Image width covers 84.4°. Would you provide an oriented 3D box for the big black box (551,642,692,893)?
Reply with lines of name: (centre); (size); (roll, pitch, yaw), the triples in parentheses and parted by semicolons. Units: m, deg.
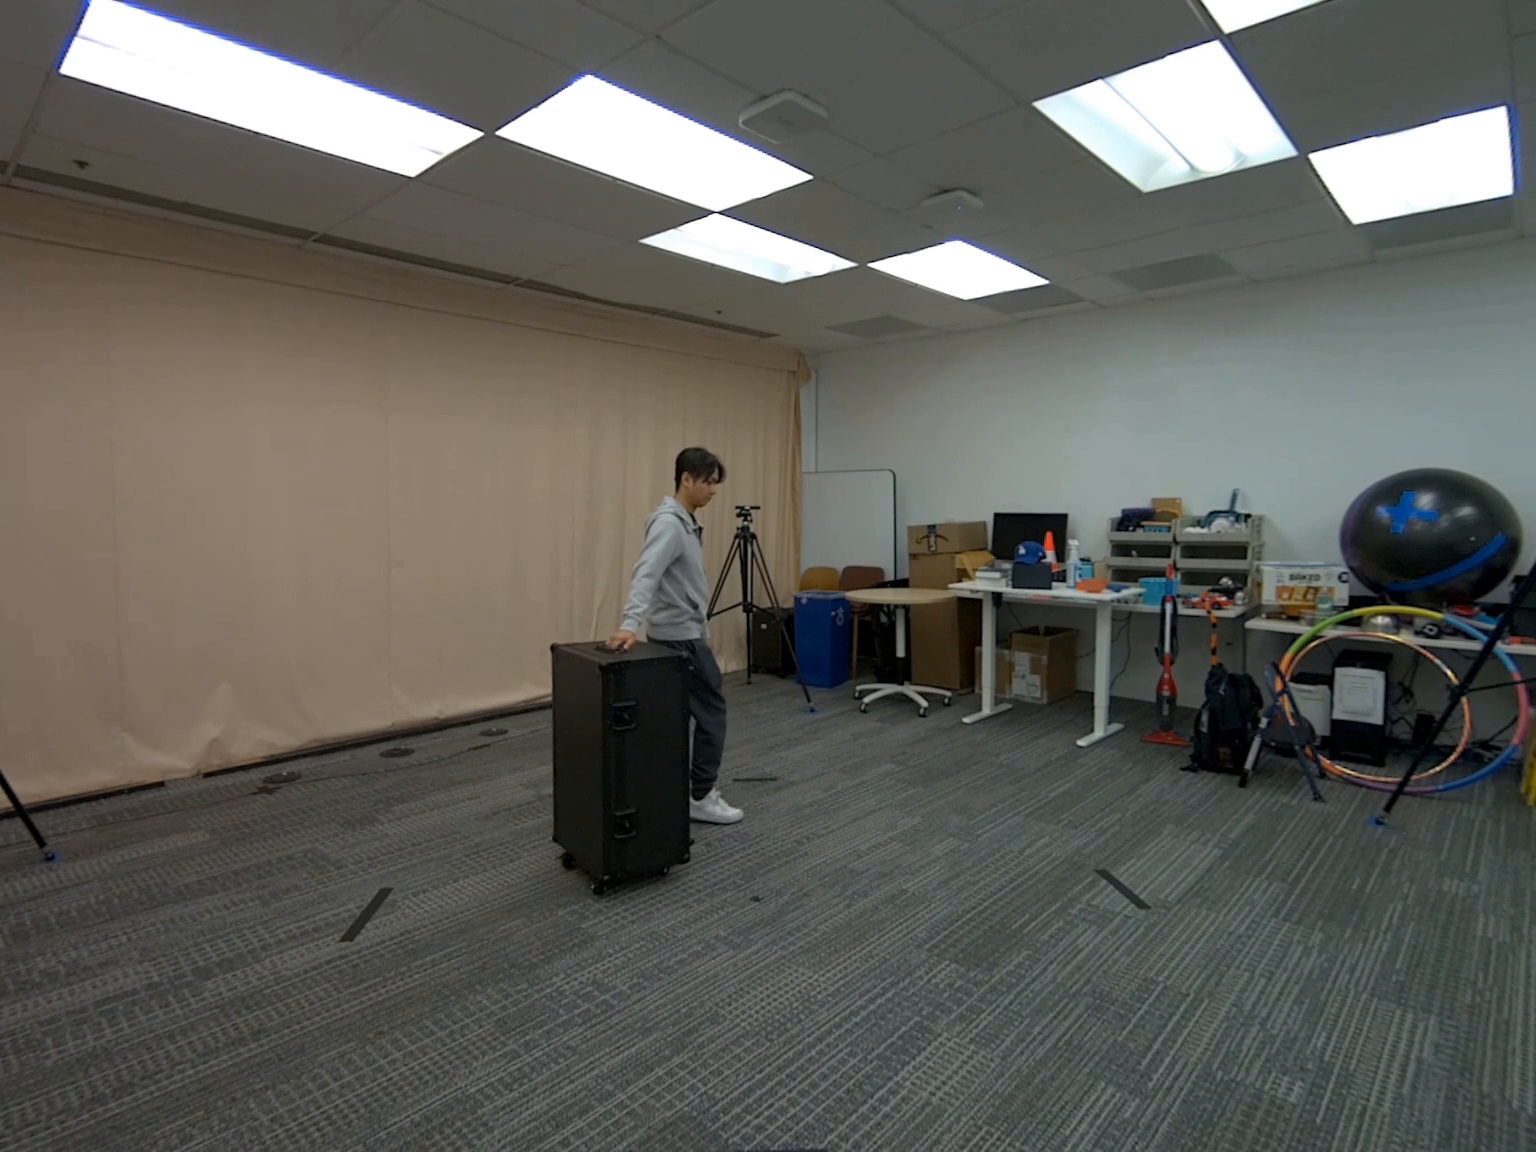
big black box: (-0.574, 0.702, 3.227); (0.385, 0.860, 0.537); (-1, 3, -34)
